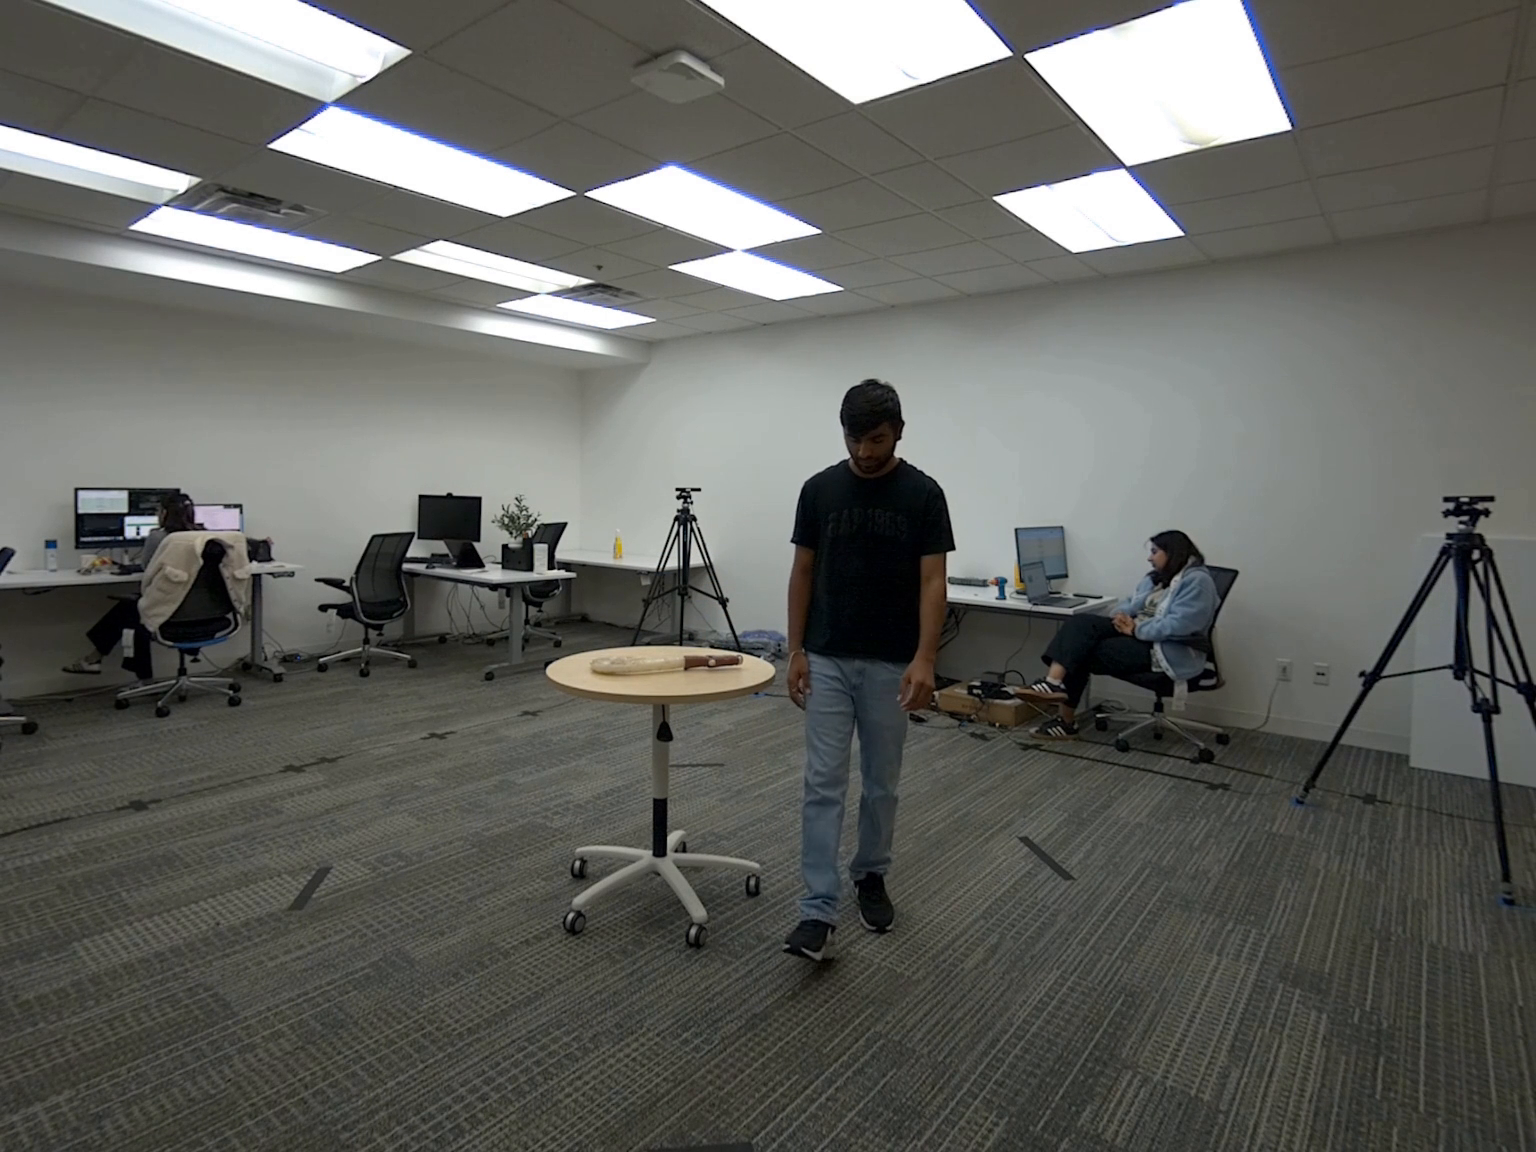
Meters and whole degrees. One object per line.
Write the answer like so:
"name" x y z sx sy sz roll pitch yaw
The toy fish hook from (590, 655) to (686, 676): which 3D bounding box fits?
"toy fish hook" -0.353 0.287 2.871 0.500 0.048 0.229 -1 8 -12
